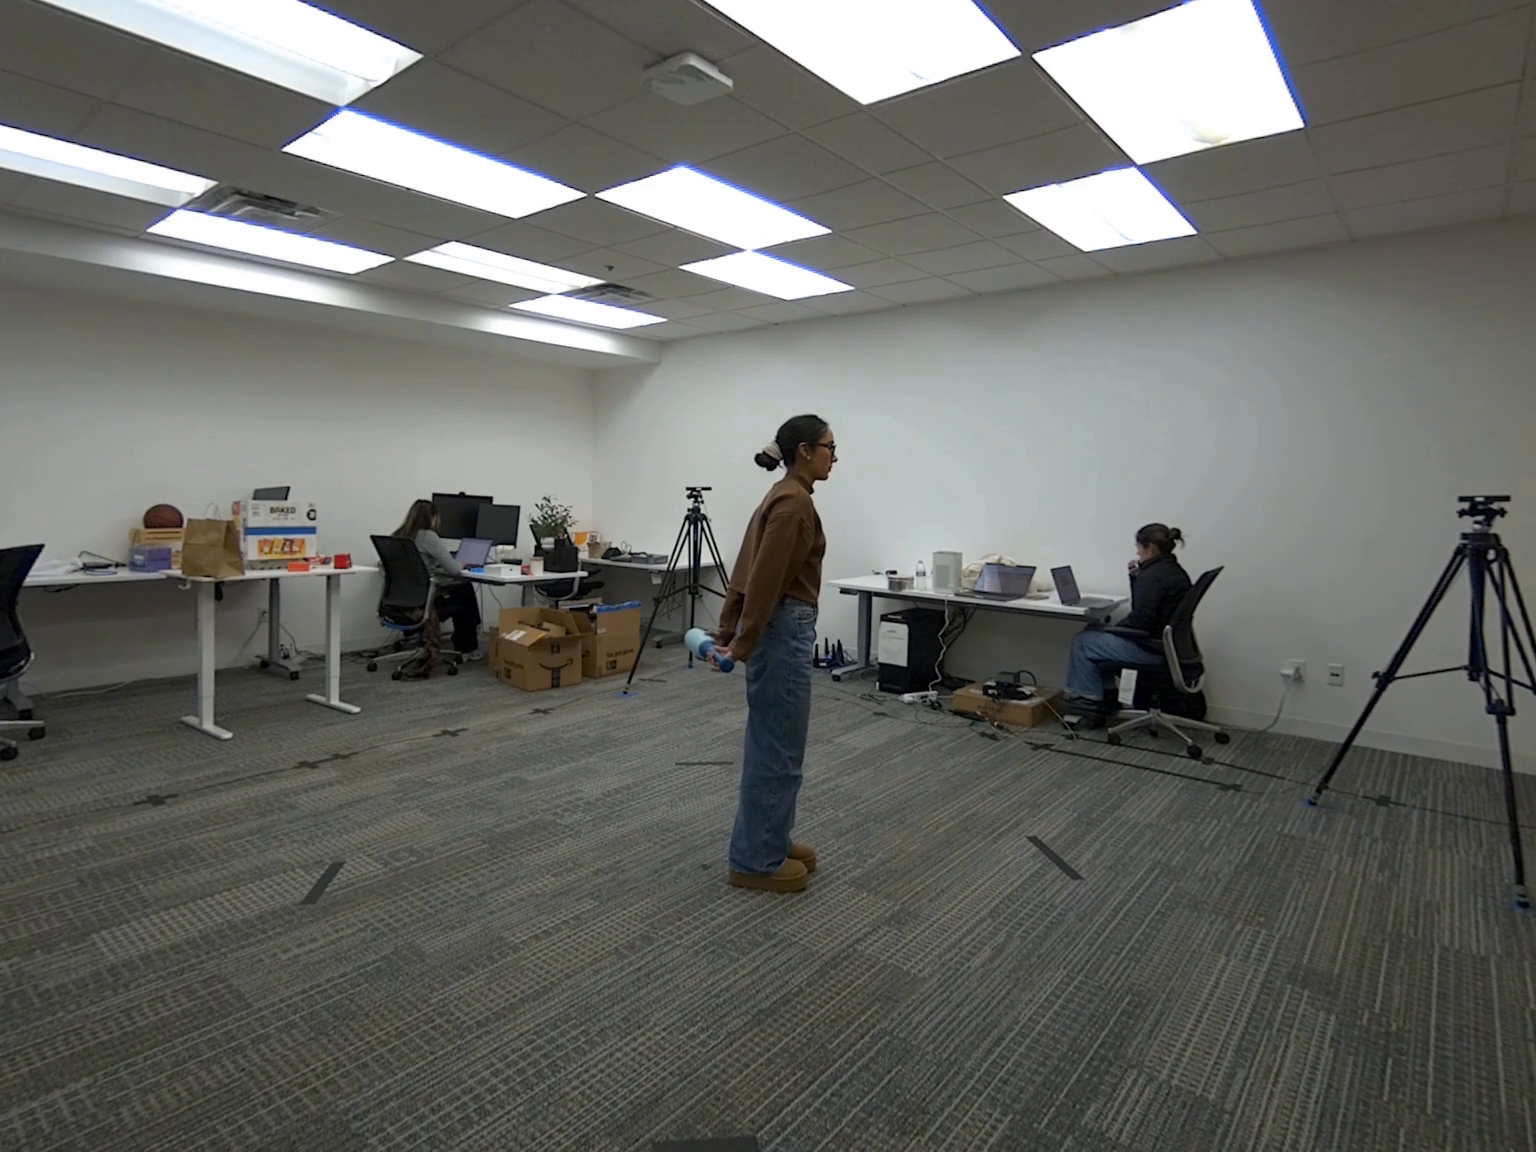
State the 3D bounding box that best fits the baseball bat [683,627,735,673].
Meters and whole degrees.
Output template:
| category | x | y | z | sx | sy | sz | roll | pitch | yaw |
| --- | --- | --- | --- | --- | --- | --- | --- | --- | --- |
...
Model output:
| category | x | y | z | sx | sy | sz | roll | pitch | yaw |
| --- | --- | --- | --- | --- | --- | --- | --- | --- | --- |
| baseball bat | -0.213 | 0.258 | 2.945 | 0.088 | 0.089 | 0.551 | 0 | 4 | -13 |
